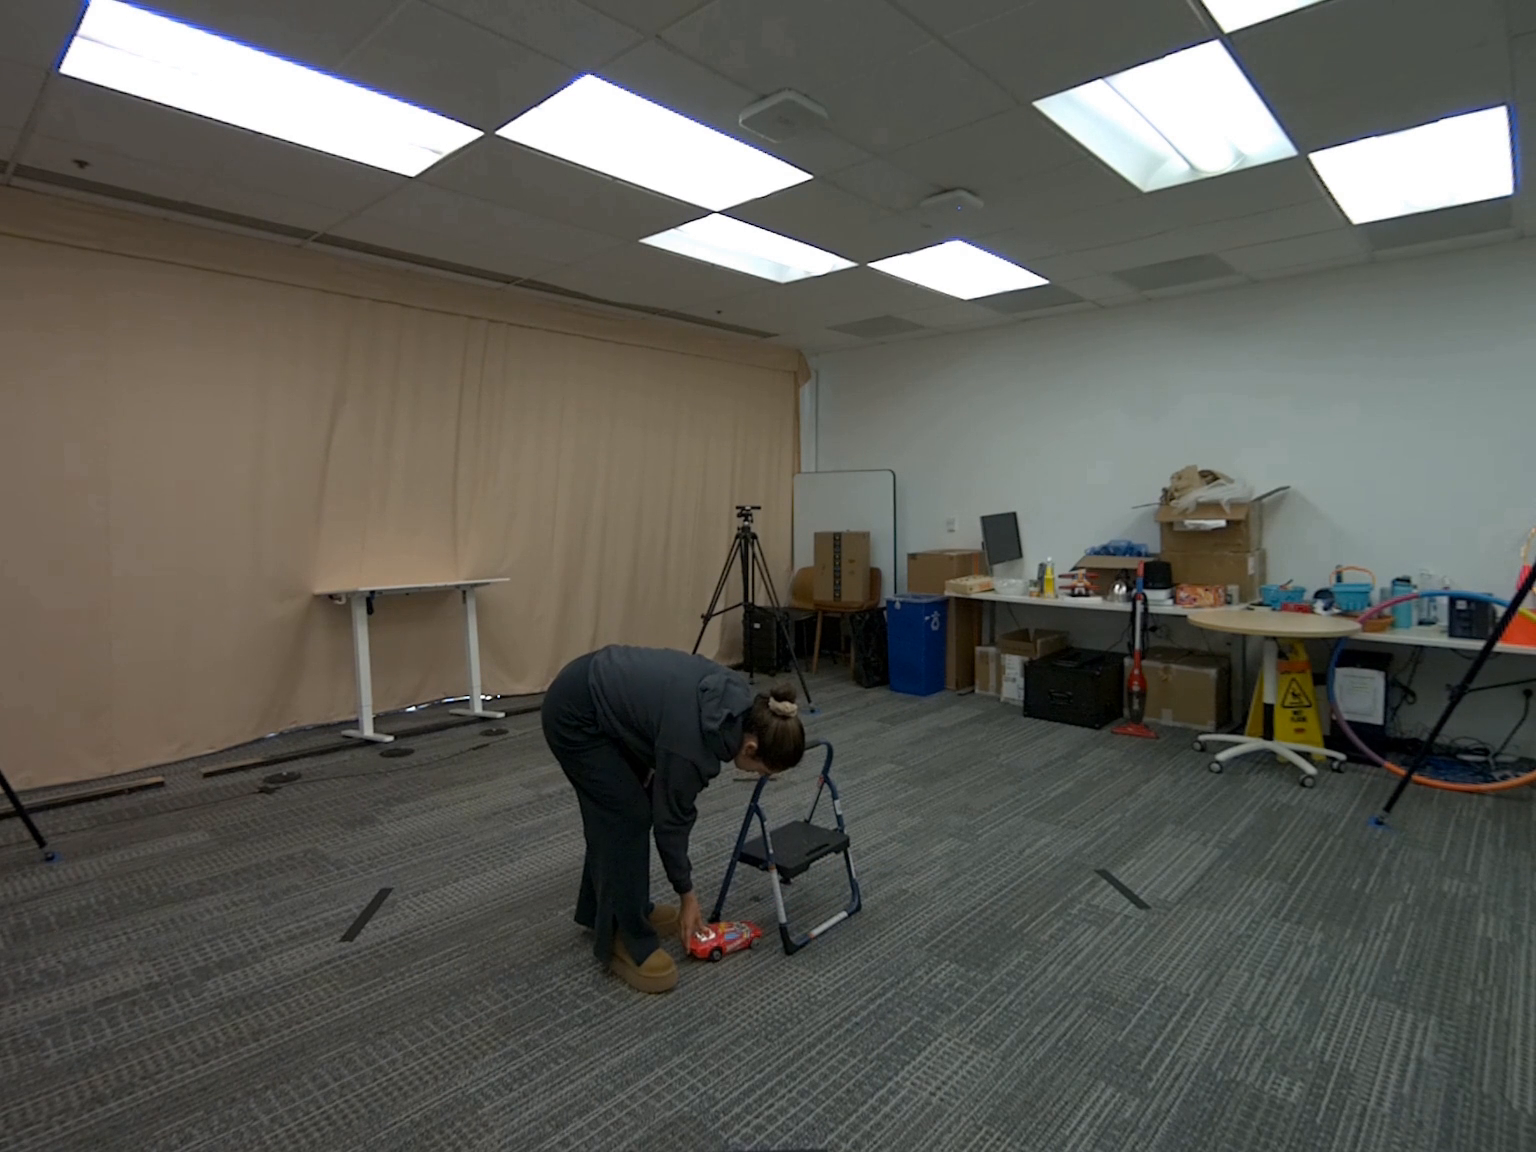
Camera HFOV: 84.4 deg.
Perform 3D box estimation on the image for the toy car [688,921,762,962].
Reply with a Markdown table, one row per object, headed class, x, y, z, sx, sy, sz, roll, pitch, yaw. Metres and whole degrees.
| class | x | y | z | sx | sy | sz | roll | pitch | yaw |
| --- | --- | --- | --- | --- | --- | --- | --- | --- | --- |
| toy car | -0.129 | 1.140 | 2.631 | 0.248 | 0.083 | 0.134 | 8 | 1 | -25 |
